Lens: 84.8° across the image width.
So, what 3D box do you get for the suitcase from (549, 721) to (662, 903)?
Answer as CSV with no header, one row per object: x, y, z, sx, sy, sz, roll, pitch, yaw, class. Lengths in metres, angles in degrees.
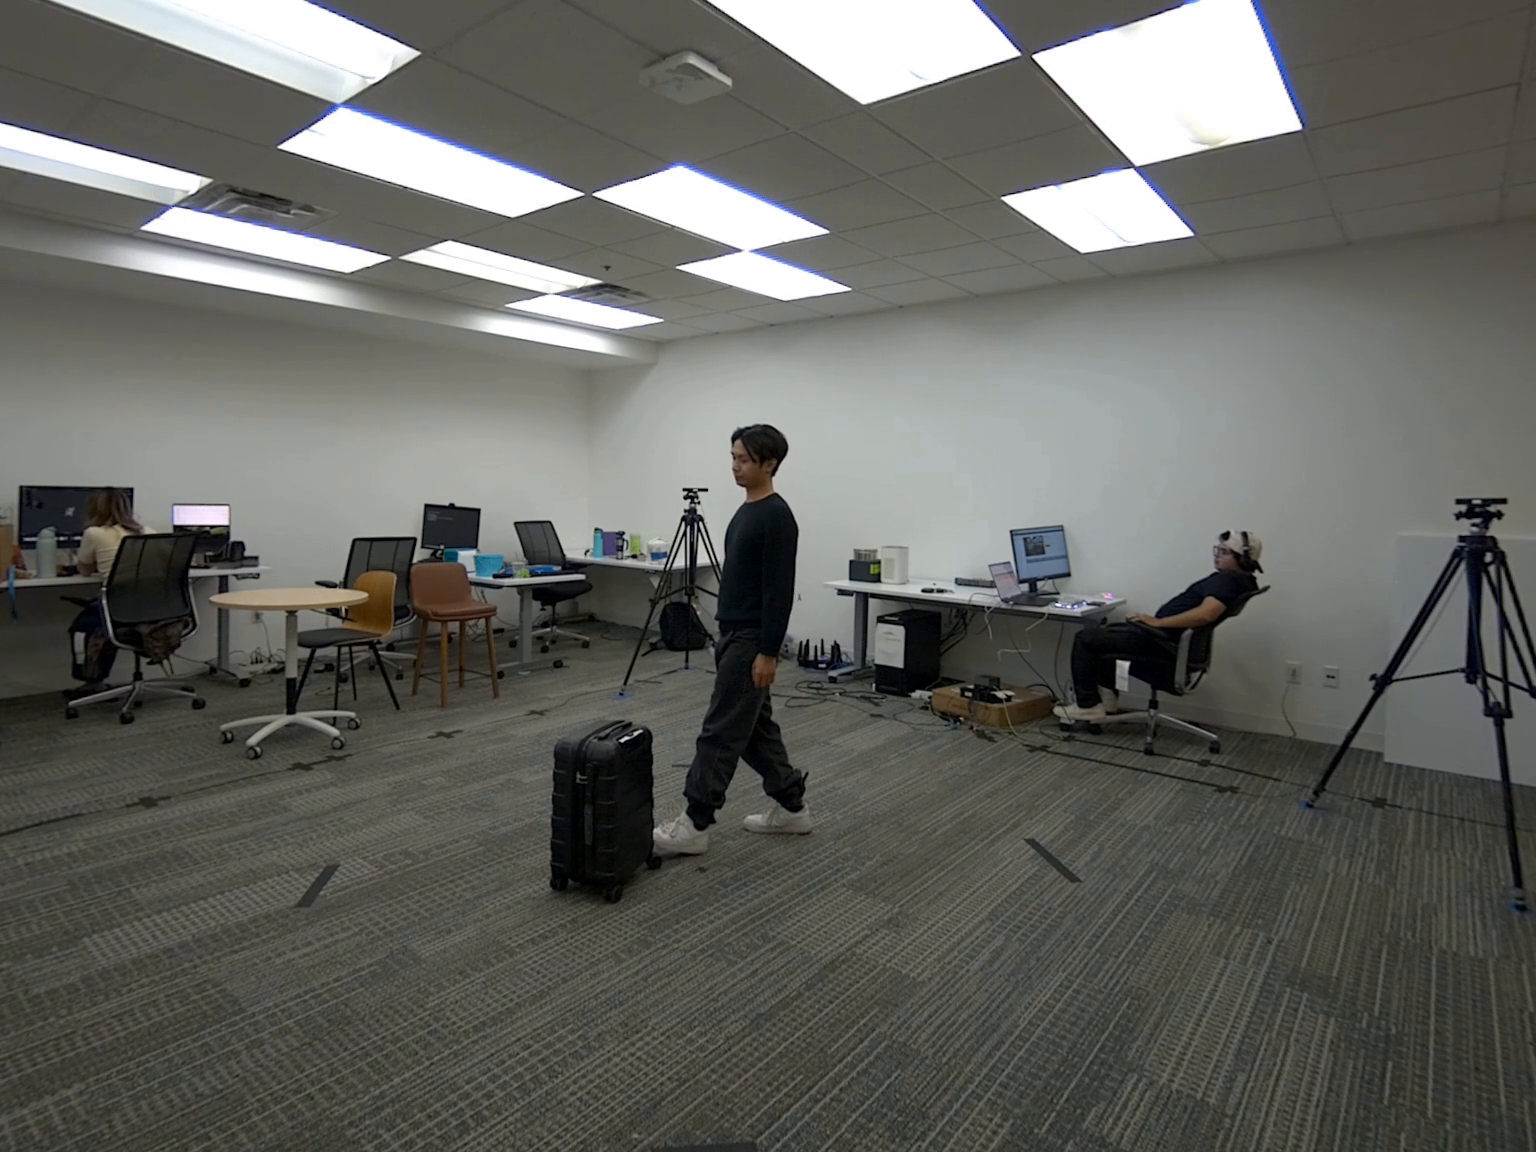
-0.591,0.798,2.997,0.254,0.547,0.369,1,4,20,suitcase
